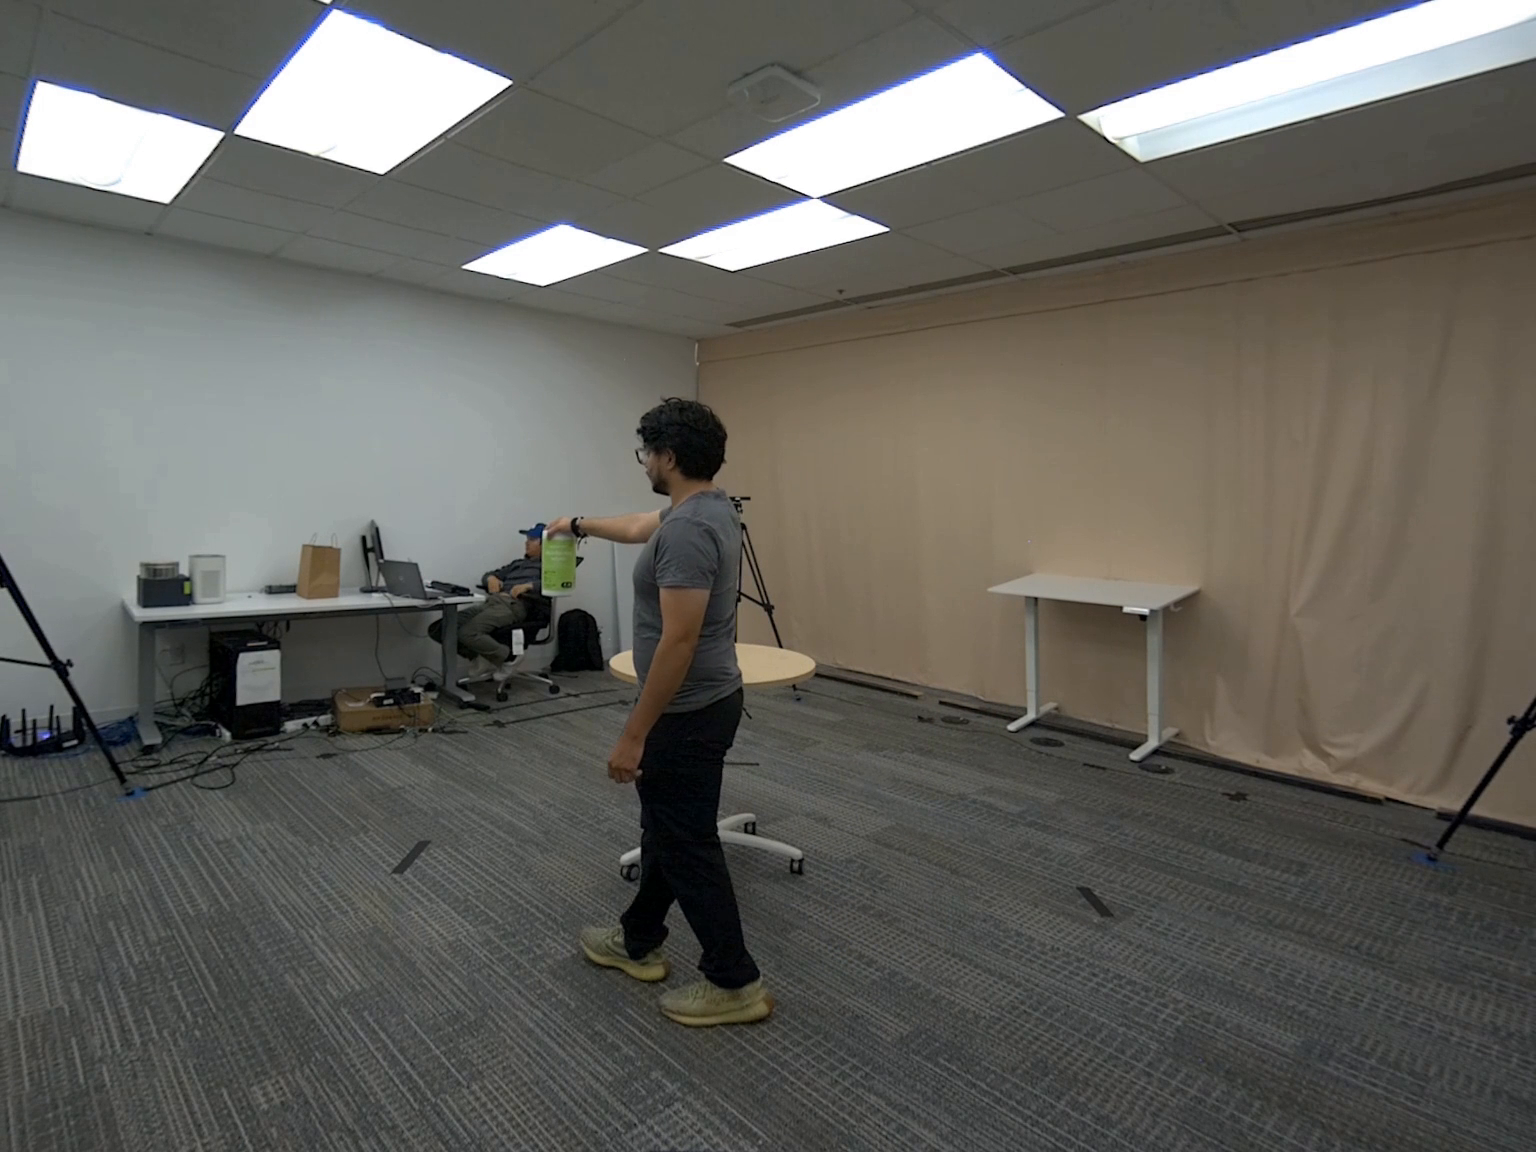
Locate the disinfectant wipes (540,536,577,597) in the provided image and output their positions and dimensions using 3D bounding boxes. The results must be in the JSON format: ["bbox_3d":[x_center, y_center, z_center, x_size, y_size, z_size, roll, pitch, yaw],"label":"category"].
[{"bbox_3d":[-0.702,-0.042,2.772,0.118,0.217,0.118,2,3,-1],"label":"disinfectant wipes"}]
